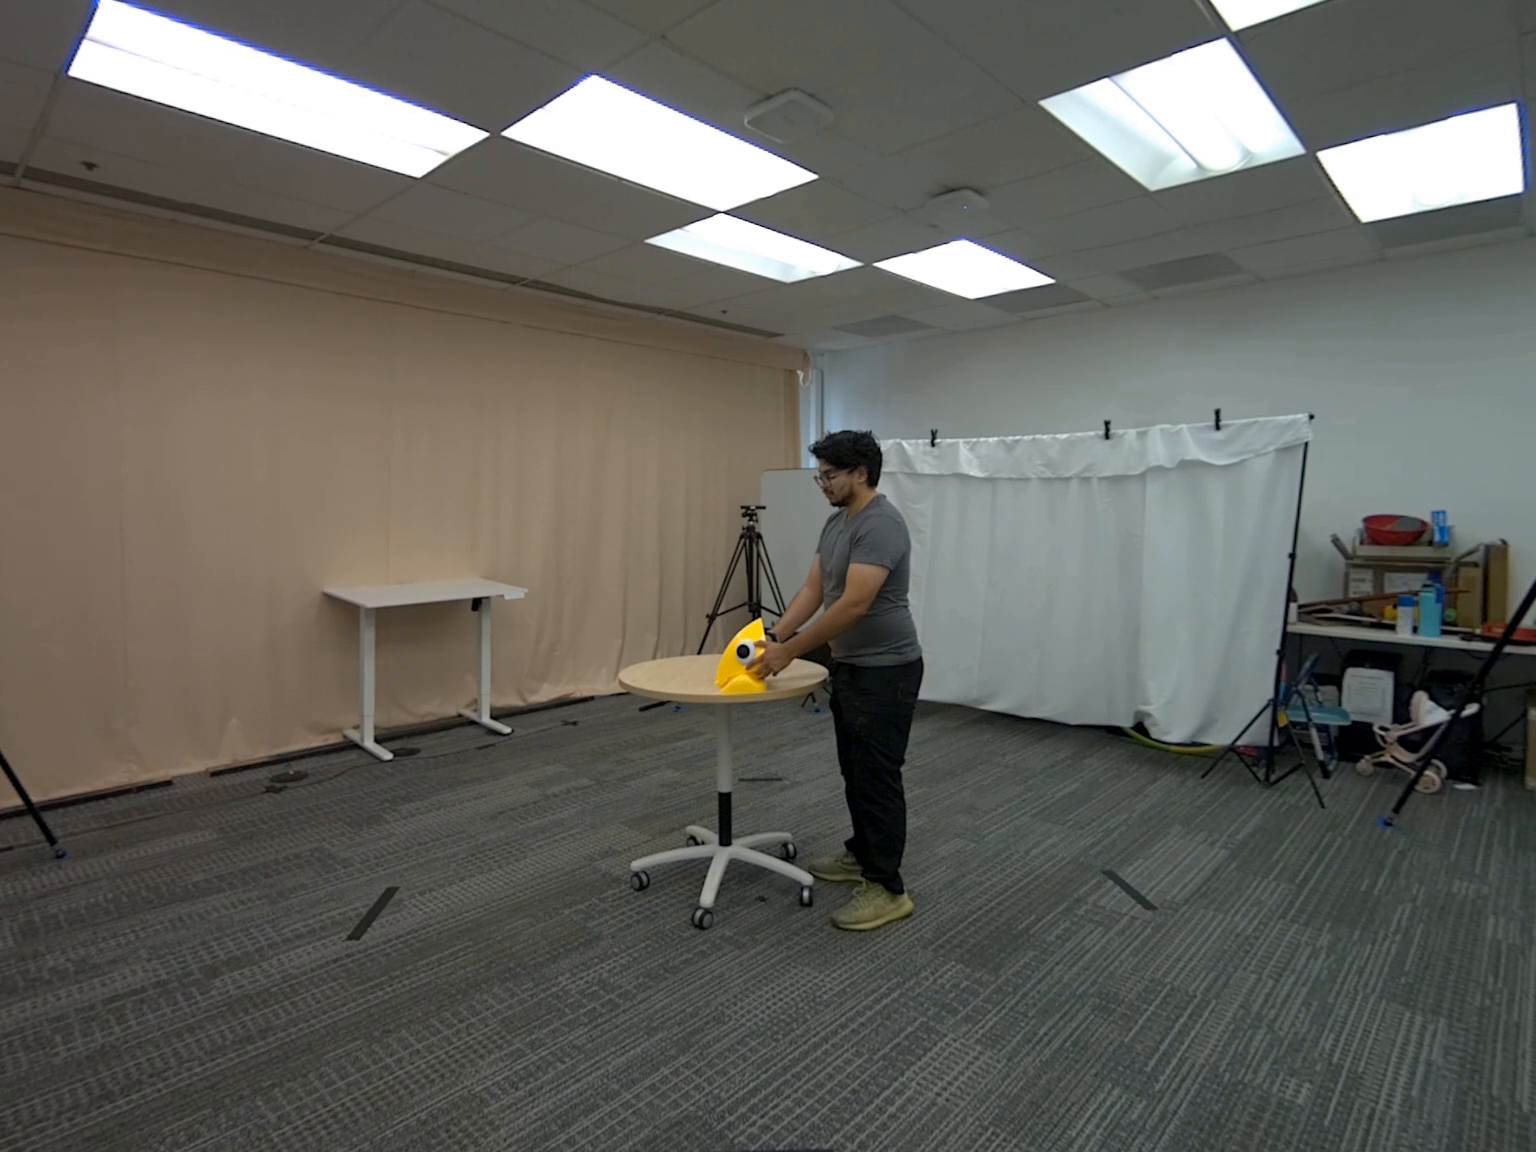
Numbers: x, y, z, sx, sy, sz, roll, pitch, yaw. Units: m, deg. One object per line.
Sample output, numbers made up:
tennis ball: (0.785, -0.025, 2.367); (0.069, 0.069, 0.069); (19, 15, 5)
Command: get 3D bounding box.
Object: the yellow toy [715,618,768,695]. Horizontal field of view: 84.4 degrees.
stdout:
yellow toy: (-0.077, 0.260, 2.814); (0.191, 0.230, 0.207); (-2, 2, -11)
